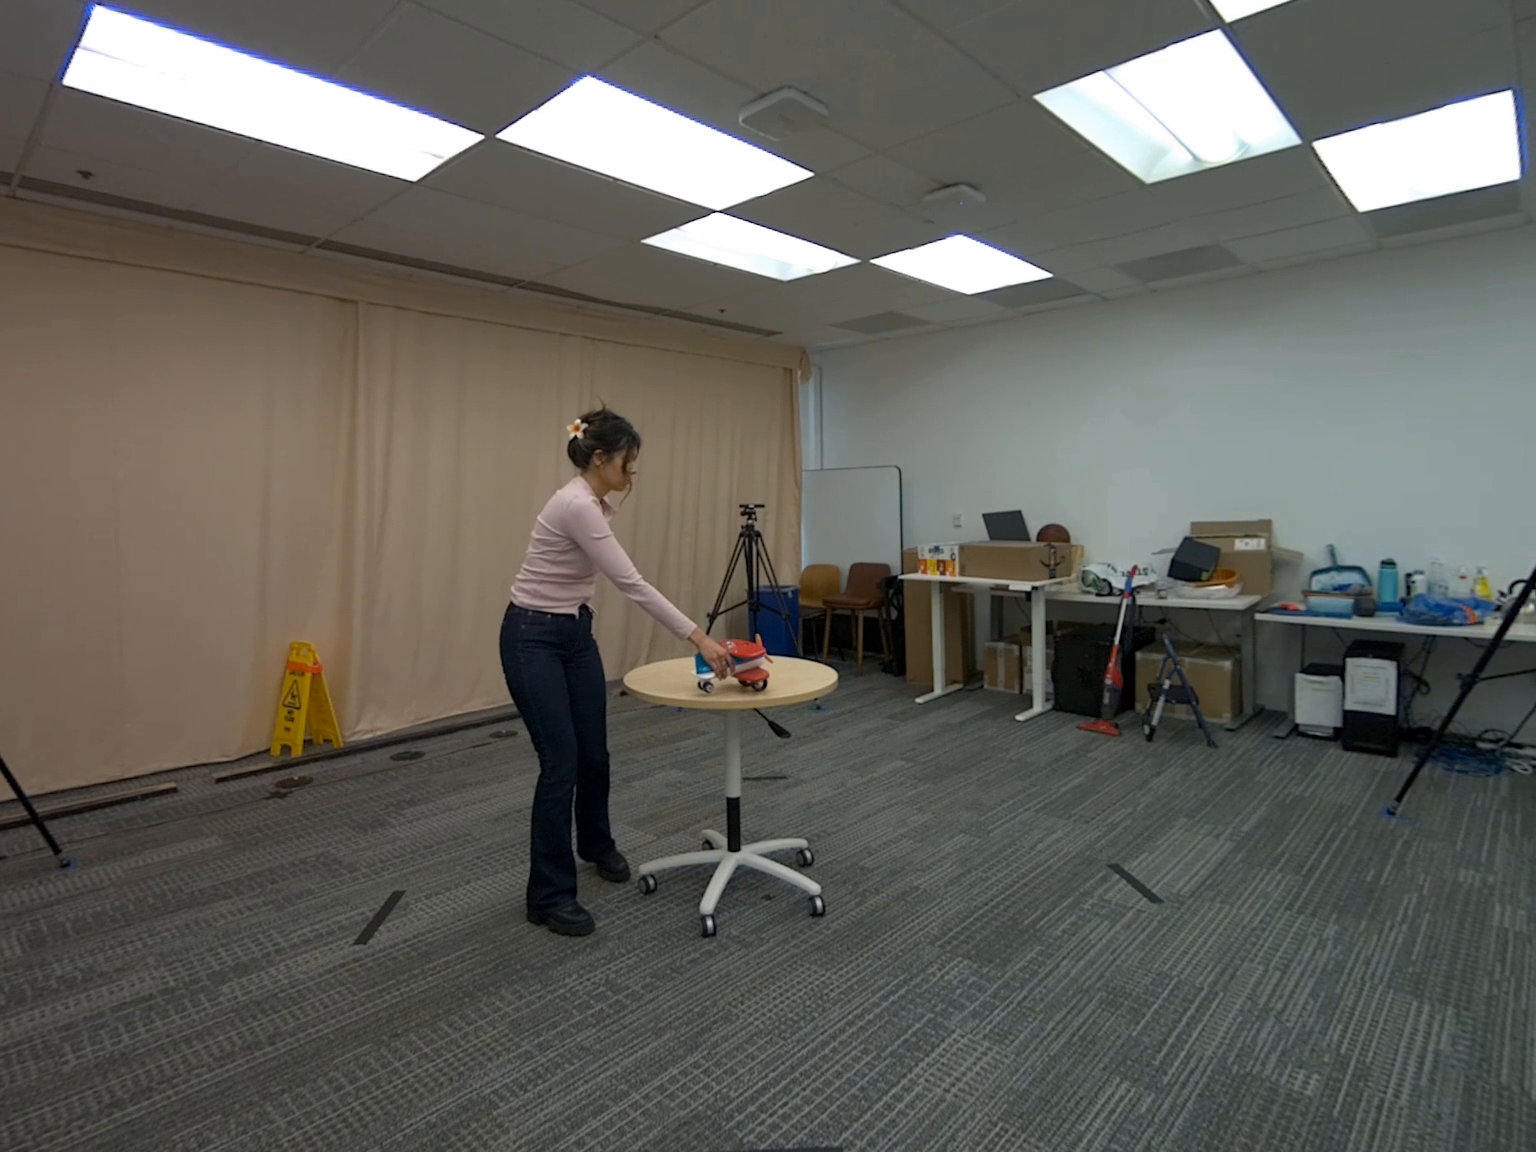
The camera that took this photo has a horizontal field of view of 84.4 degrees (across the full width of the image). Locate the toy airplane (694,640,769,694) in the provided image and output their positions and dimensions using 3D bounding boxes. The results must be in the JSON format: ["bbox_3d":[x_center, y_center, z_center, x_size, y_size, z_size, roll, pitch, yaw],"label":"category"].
[{"bbox_3d":[-0.113,0.296,2.750,0.259,0.156,0.251,4,3,34],"label":"toy airplane"}]
